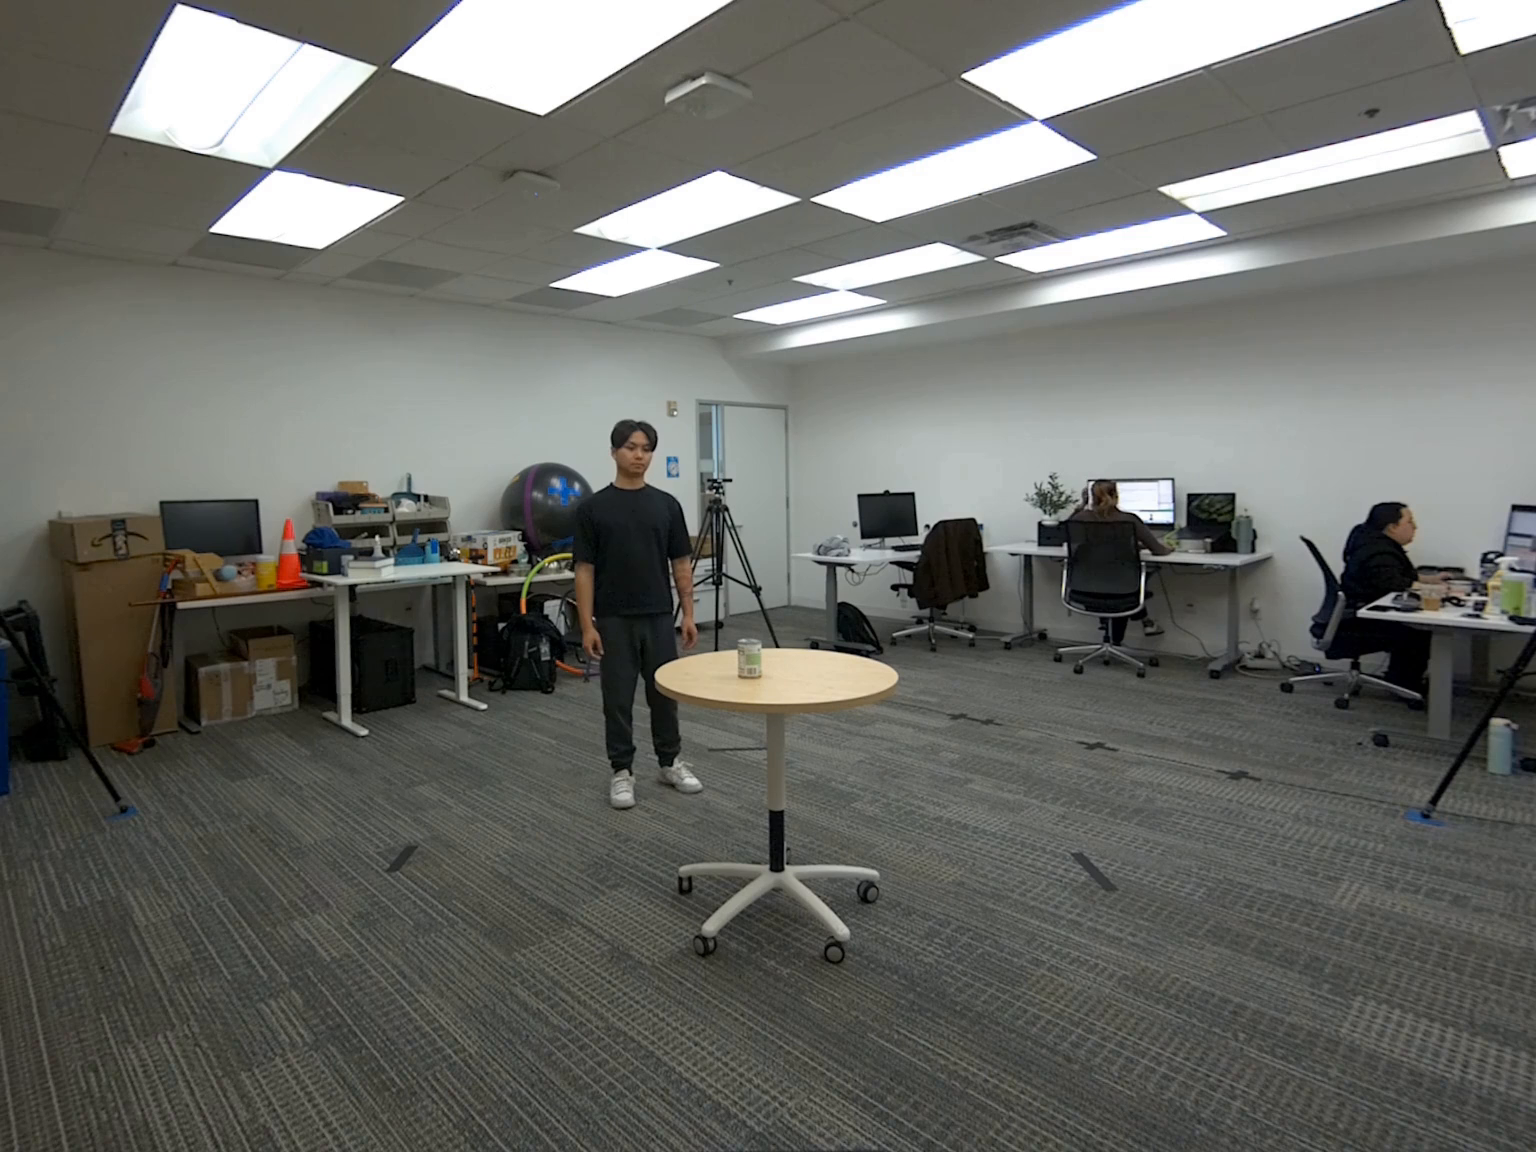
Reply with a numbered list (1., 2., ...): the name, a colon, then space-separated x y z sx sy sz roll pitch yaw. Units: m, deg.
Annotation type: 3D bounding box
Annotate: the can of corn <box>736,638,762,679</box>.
1. can of corn: -0.053 0.259 2.648 0.074 0.110 0.074 -3 6 -1
